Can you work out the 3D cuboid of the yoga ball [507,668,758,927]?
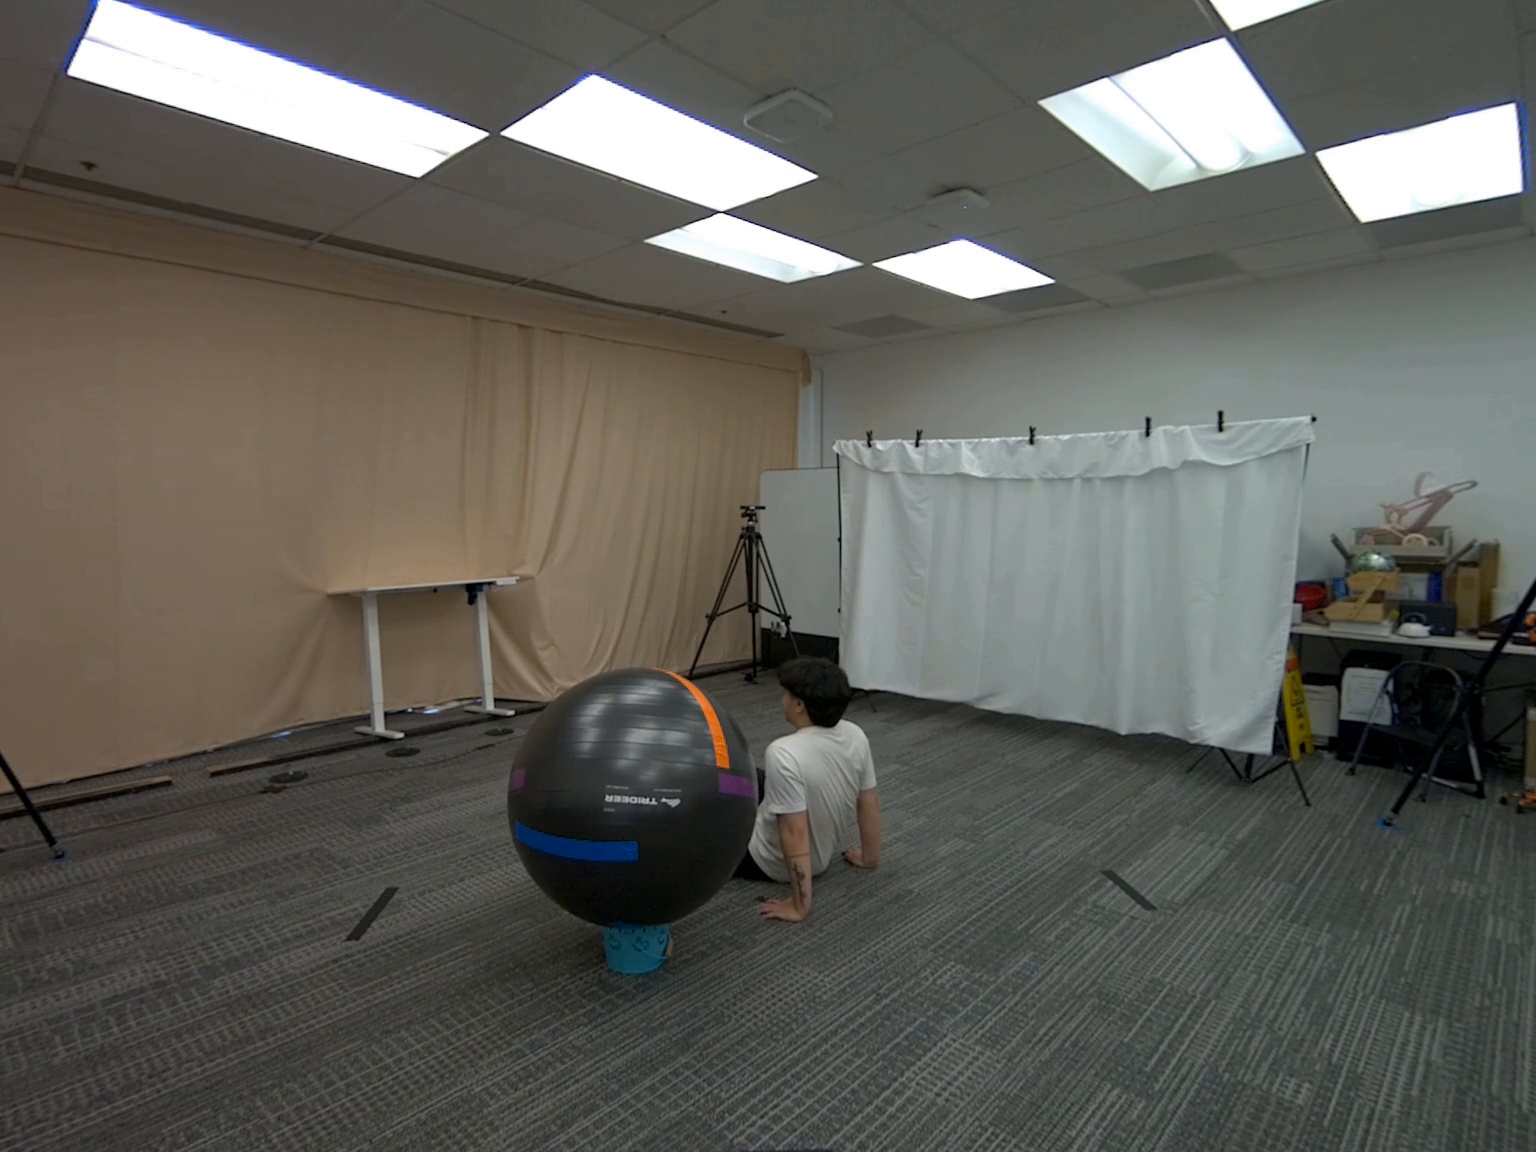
[{"bbox_3d":[-0.423,0.670,2.577,0.757,0.756,0.761,0,4,-2],"label":"yoga ball"}]
